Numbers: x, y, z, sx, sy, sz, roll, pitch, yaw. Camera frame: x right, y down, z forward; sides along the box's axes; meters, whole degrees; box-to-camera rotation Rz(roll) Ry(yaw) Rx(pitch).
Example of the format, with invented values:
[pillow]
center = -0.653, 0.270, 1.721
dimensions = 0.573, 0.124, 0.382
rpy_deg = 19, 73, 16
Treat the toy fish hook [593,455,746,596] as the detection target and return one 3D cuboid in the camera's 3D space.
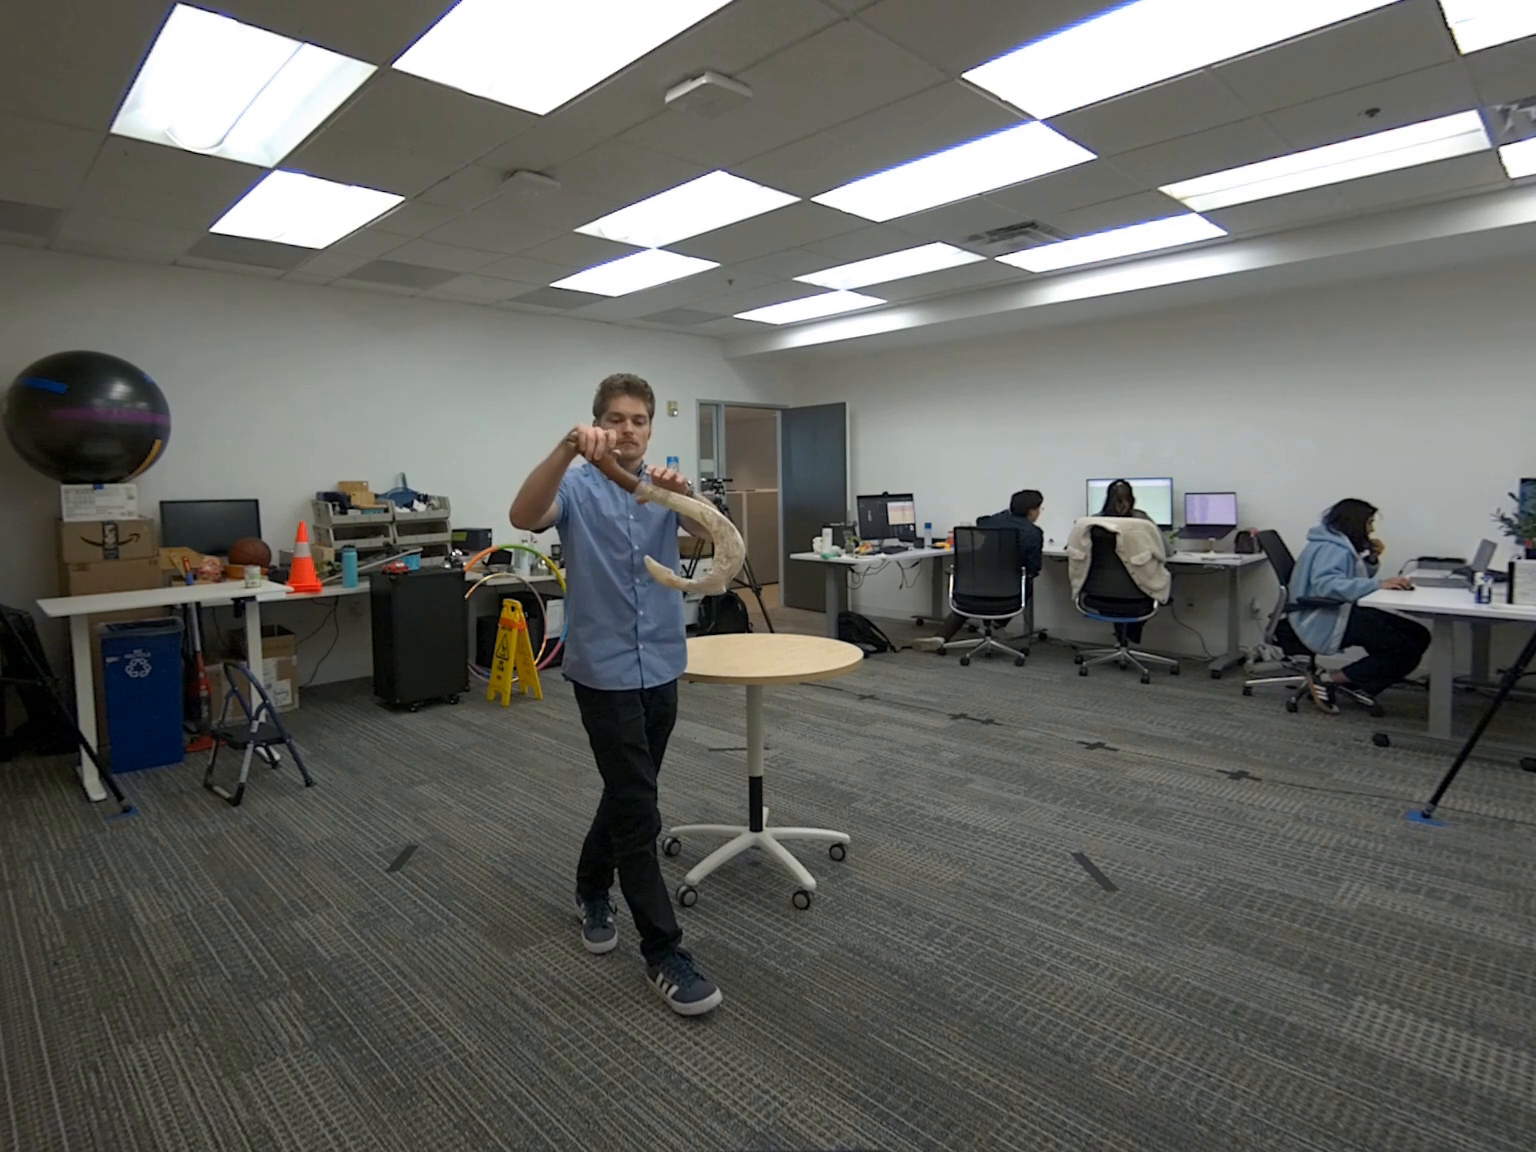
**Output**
[toy fish hook]
center = -0.279, -0.145, 1.973
dimensions = 0.506, 0.226, 0.048
rpy_deg = 35, -27, 0
